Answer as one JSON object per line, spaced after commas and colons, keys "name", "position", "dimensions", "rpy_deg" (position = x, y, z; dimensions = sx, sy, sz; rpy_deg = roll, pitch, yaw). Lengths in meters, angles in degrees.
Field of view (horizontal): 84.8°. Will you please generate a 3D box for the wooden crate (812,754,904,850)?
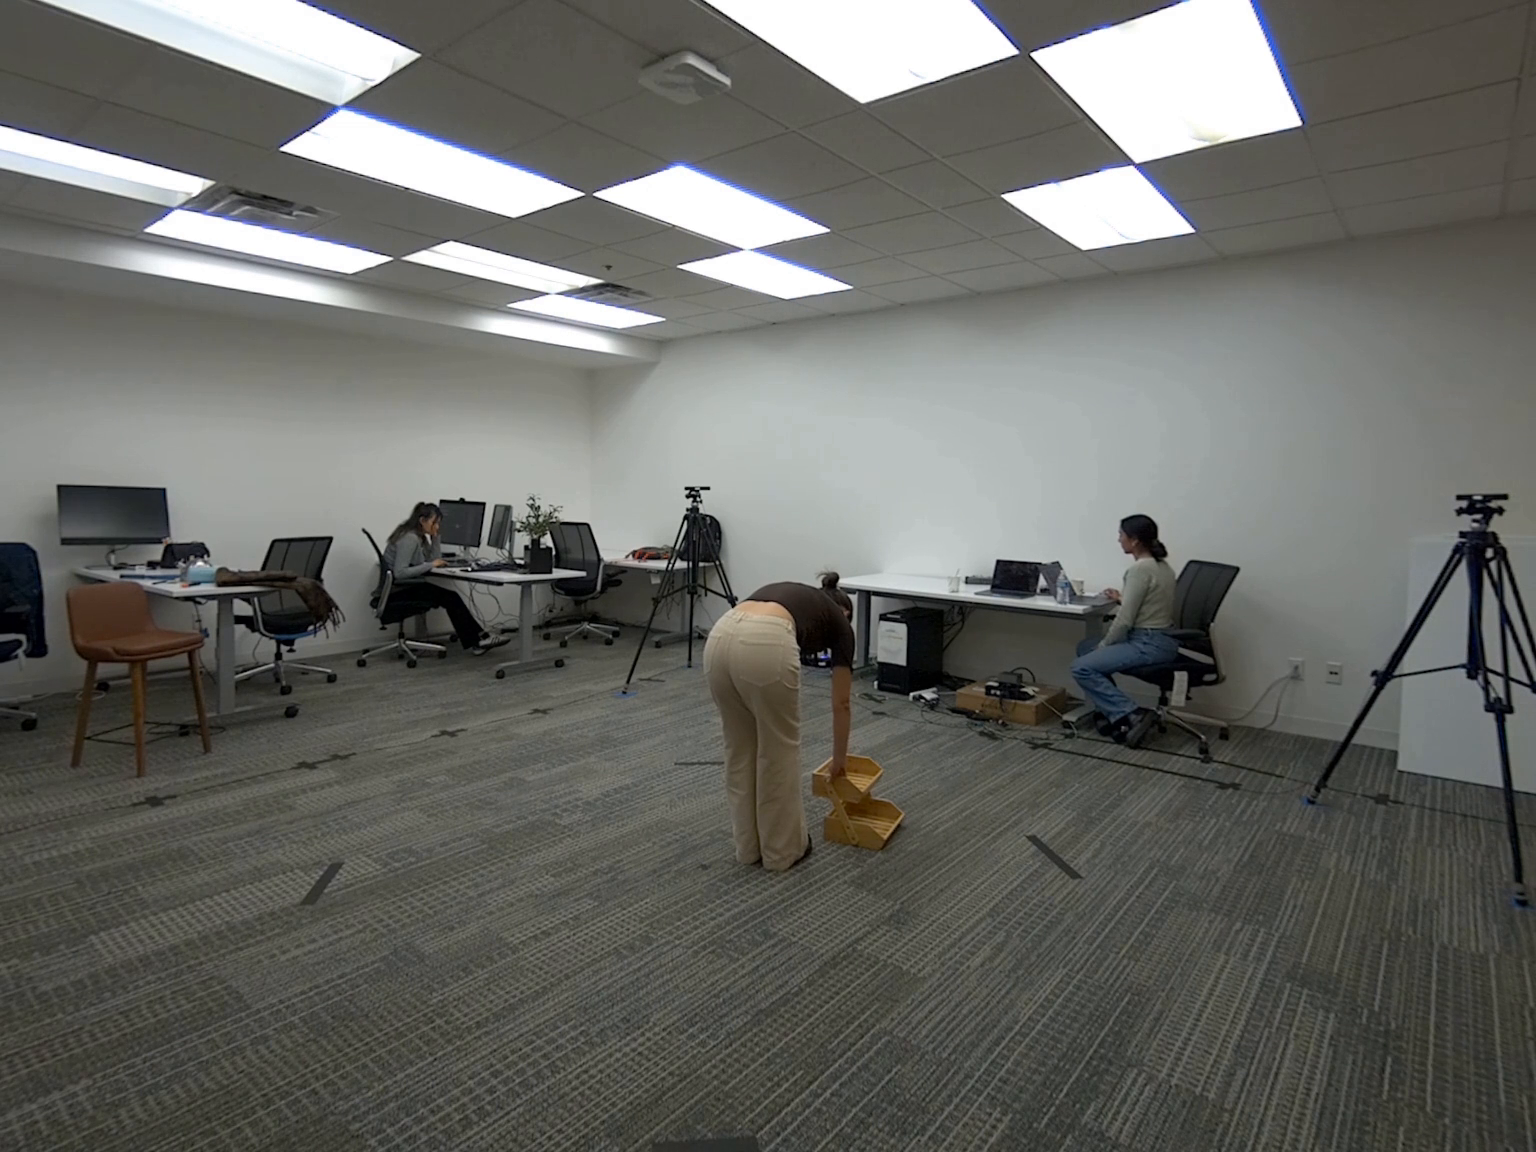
{"name": "wooden crate", "position": [0.367, 0.905, 3.472], "dimensions": [0.310, 0.272, 0.317], "rpy_deg": [2, 5, 25]}
